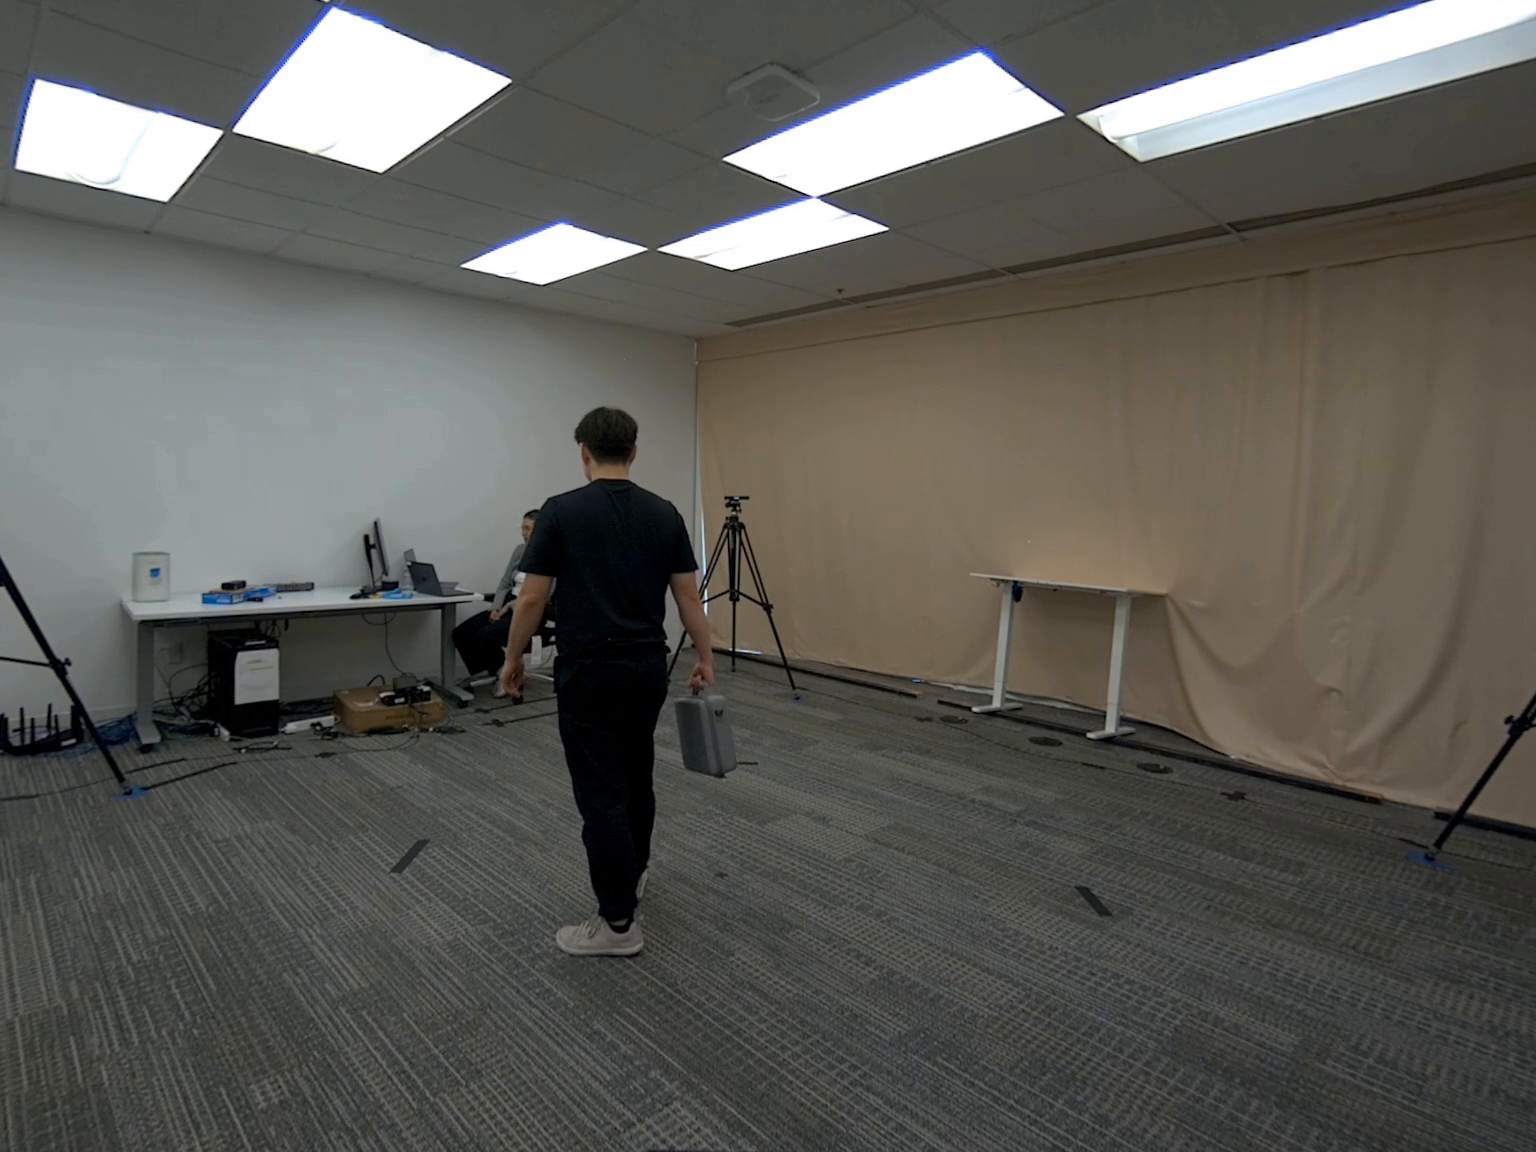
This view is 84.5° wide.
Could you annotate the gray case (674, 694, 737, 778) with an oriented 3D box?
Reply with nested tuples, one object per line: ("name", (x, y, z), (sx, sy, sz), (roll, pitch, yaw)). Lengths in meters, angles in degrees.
("gray case", (-0.223, 0.522, 2.820), (0.102, 0.261, 0.260), (-6, -4, -26))
